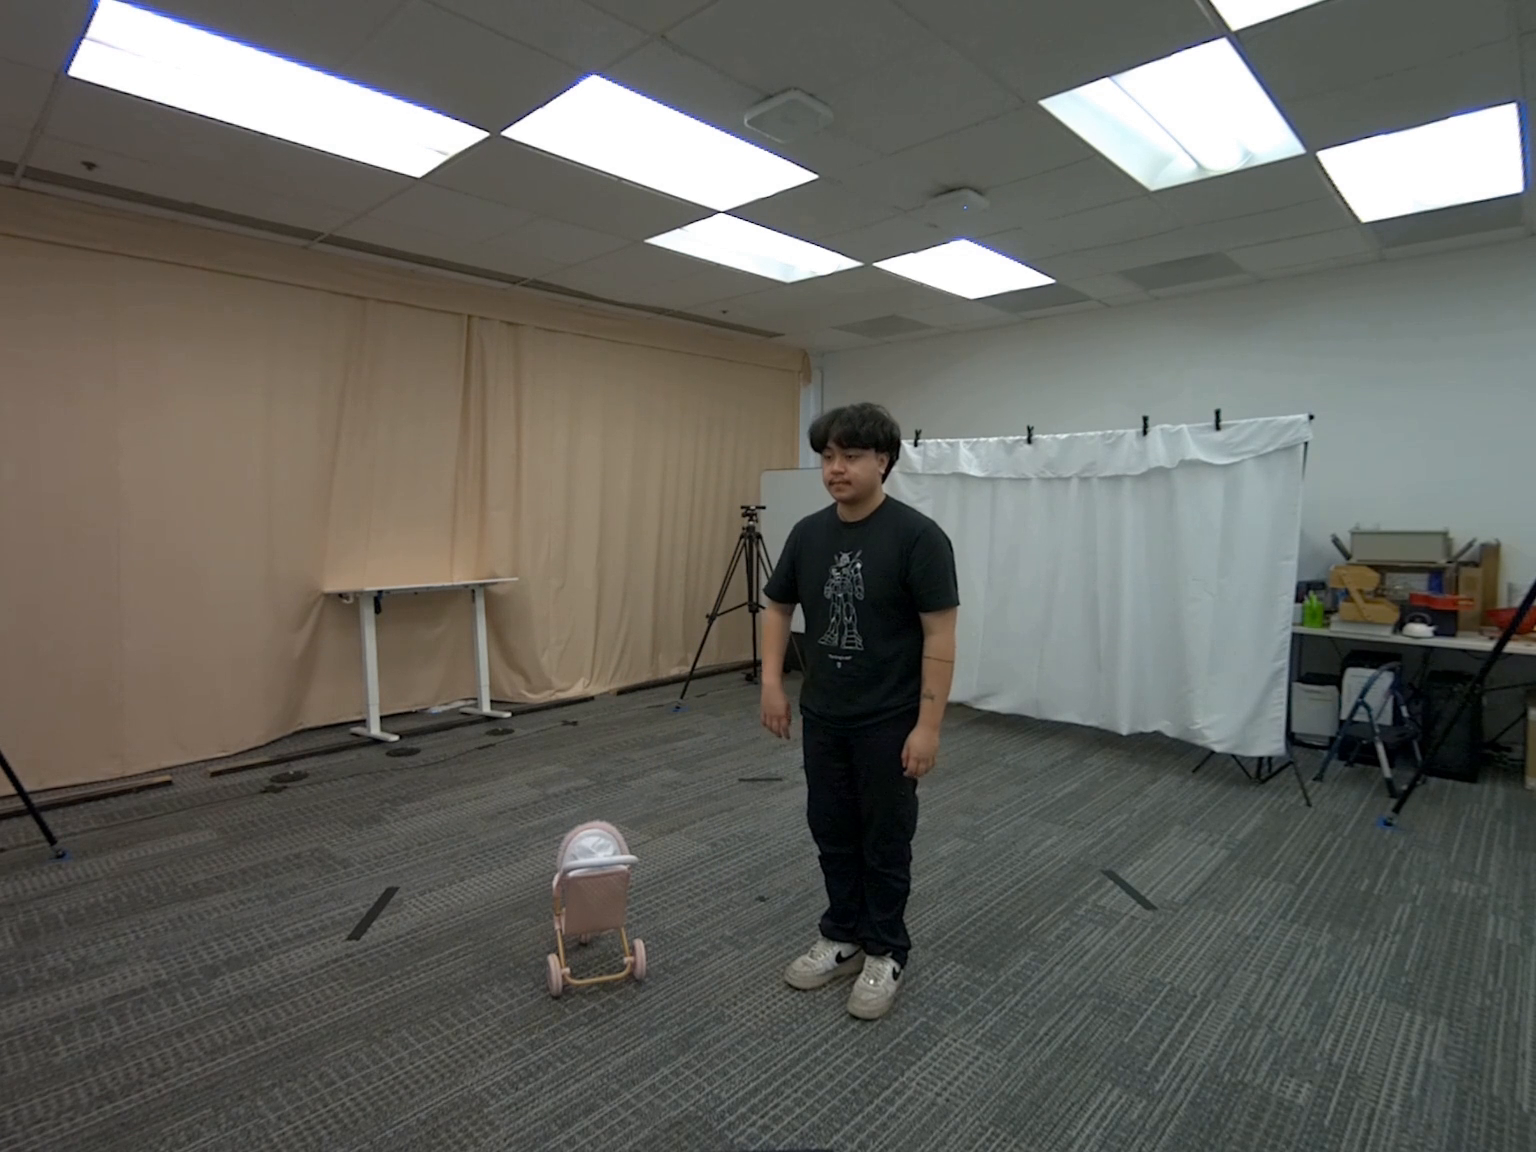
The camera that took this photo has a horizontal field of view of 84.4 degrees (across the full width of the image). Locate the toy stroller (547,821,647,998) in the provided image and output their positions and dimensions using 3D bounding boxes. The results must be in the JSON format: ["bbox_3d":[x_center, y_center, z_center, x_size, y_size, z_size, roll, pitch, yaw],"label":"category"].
[{"bbox_3d":[-0.526,0.963,2.505,0.277,0.530,0.350,-1,18,-16],"label":"toy stroller"}]
